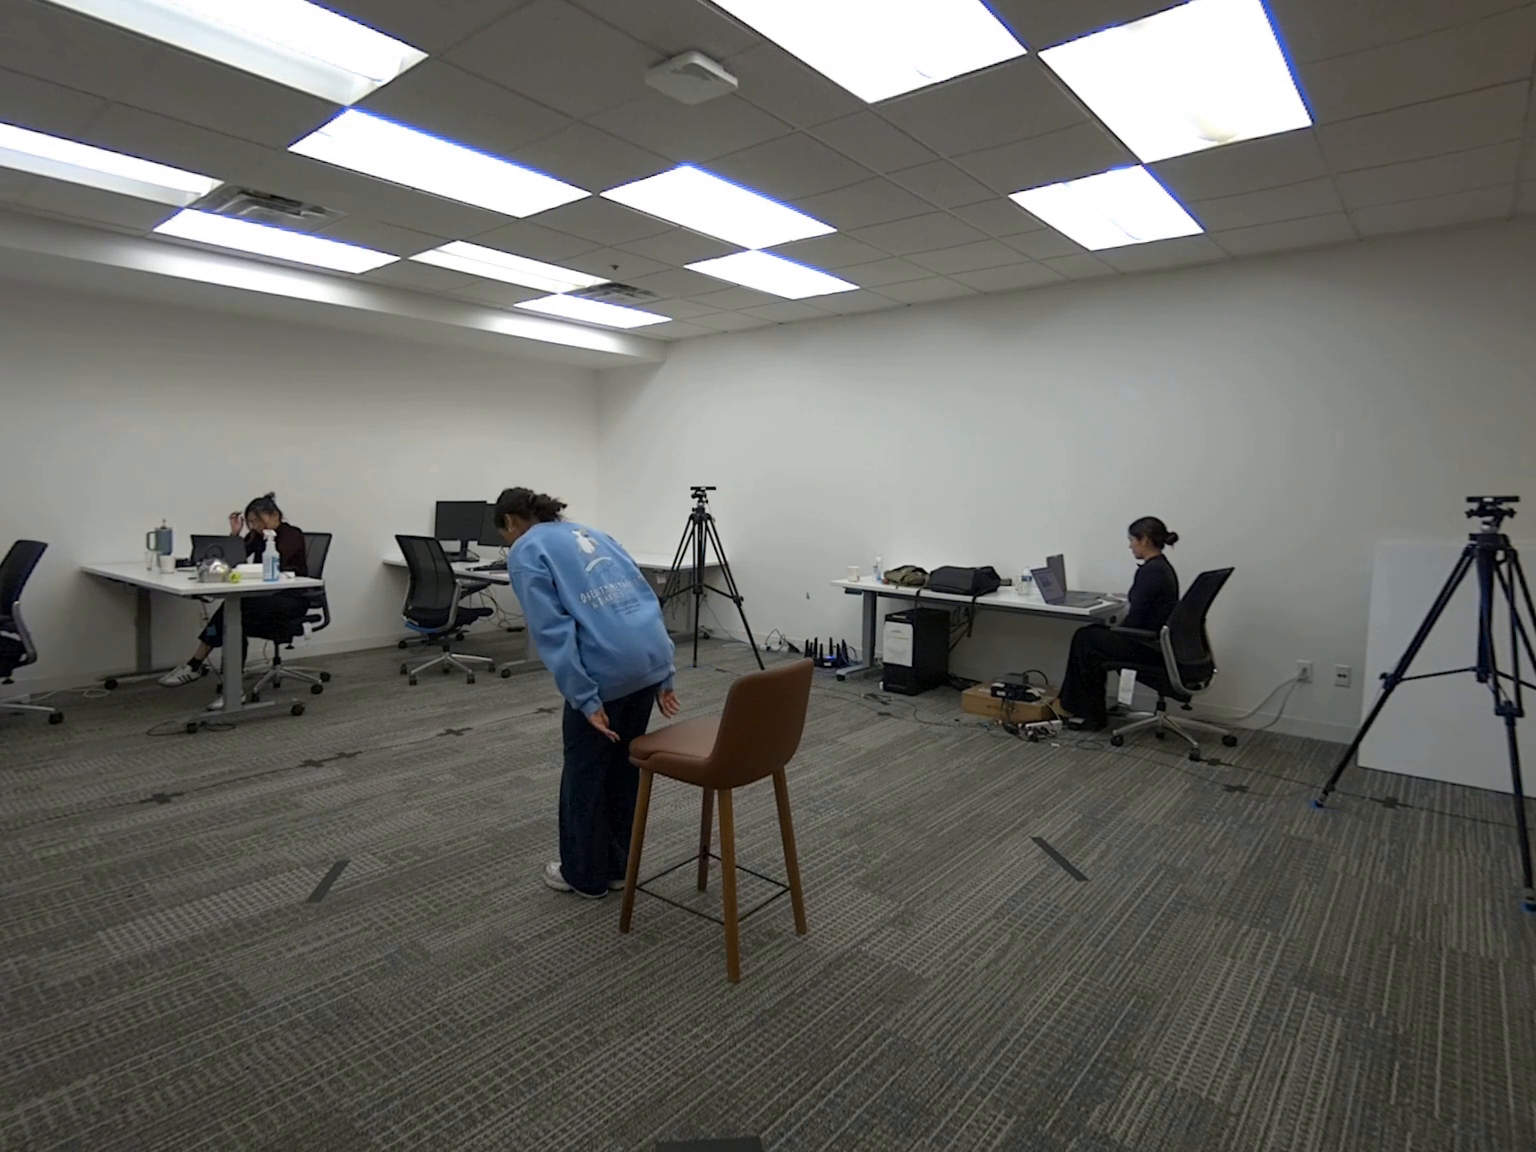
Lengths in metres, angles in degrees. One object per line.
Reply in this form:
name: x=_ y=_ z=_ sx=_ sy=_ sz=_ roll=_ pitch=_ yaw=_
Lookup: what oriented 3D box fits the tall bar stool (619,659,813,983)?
tall bar stool: x=-0.165 y=0.673 z=2.636 sx=0.483 sy=0.886 sz=0.443 roll=6 pitch=5 yaw=37
